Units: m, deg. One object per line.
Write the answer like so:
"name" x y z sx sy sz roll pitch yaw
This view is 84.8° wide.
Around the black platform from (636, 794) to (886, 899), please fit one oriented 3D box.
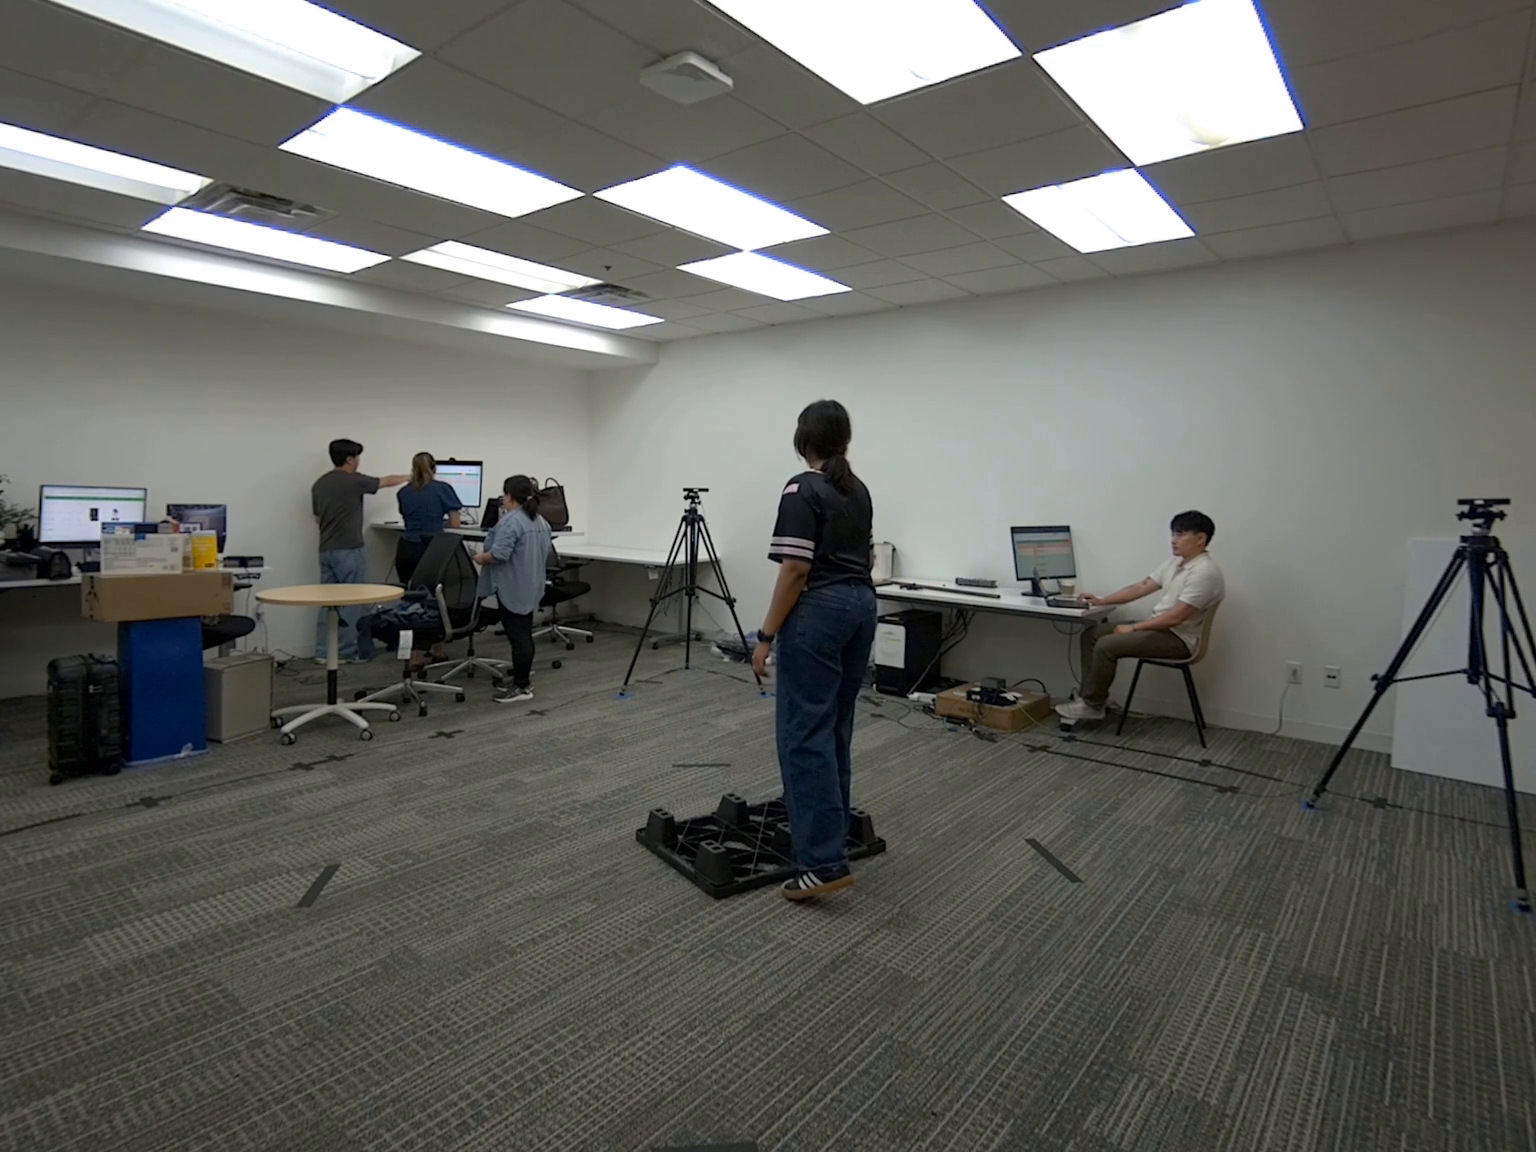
"black platform" -0.043 0.988 3.325 0.782 0.143 0.625 -3 6 -35
